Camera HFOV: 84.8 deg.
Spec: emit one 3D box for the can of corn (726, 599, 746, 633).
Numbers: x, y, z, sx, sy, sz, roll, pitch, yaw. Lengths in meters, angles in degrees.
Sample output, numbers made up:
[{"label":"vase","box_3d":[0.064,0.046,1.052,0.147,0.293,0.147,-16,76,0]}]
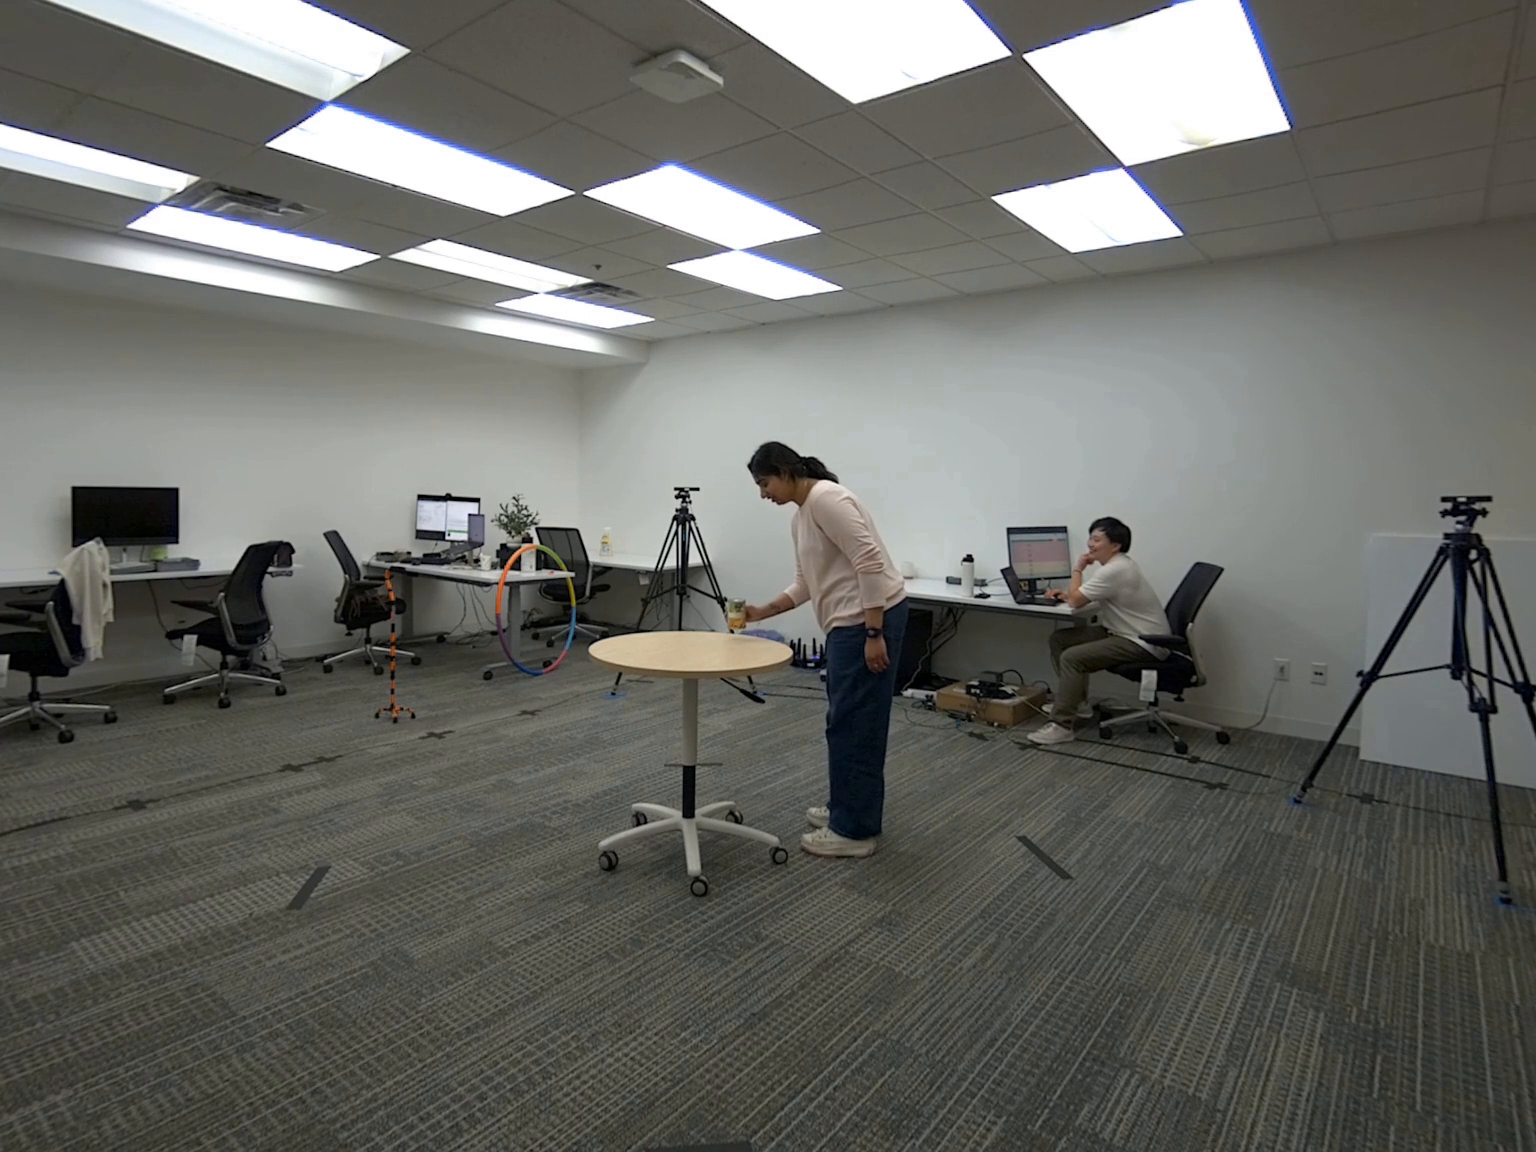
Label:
[{"label":"can of corn","box_3d":[-0.134,0.148,3.457,0.074,0.110,0.075,-3,8,-1]}]
